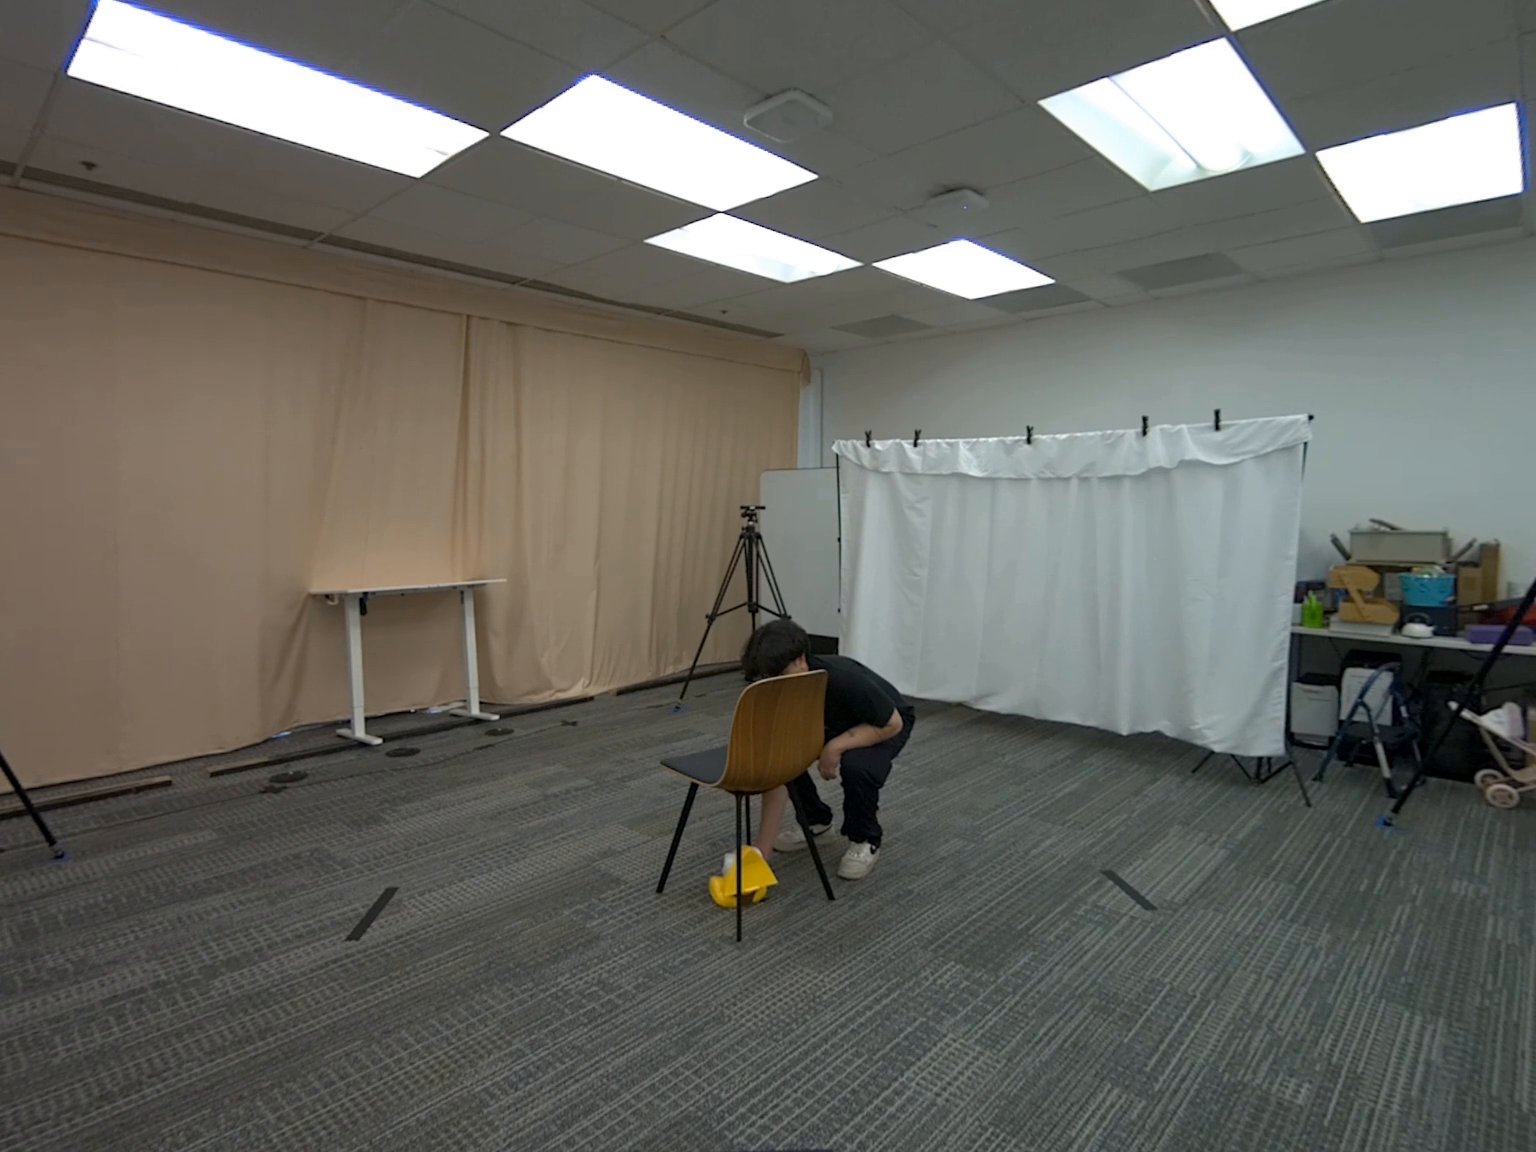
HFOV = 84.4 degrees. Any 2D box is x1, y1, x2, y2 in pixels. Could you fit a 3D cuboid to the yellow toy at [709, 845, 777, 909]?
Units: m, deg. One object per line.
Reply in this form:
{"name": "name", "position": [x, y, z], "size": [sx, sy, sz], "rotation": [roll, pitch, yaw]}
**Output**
{"name": "yellow toy", "position": [-0.089, 1.021, 2.966], "size": [0.200, 0.228, 0.199], "rotation": [-5, 22, -24]}
